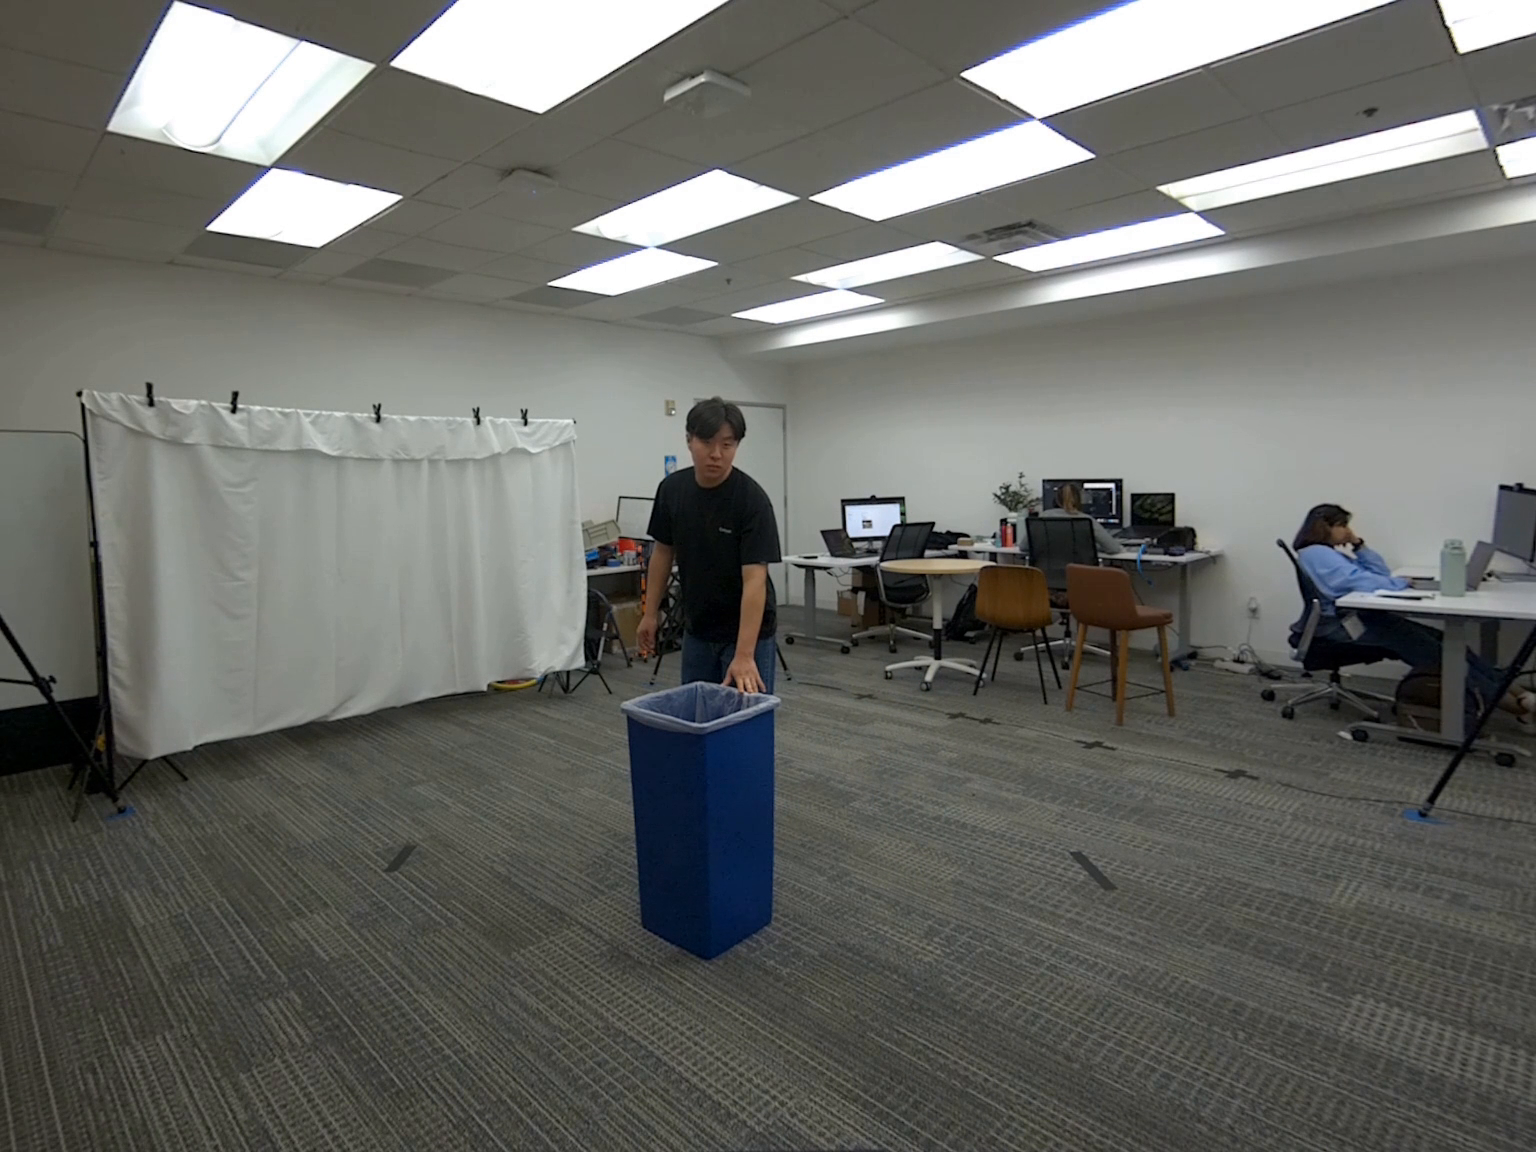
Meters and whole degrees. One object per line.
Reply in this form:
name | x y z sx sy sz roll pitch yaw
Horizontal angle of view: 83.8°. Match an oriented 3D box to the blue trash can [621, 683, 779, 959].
blue trash can | -0.201 0.744 2.654 0.389 0.711 0.364 2 5 40
